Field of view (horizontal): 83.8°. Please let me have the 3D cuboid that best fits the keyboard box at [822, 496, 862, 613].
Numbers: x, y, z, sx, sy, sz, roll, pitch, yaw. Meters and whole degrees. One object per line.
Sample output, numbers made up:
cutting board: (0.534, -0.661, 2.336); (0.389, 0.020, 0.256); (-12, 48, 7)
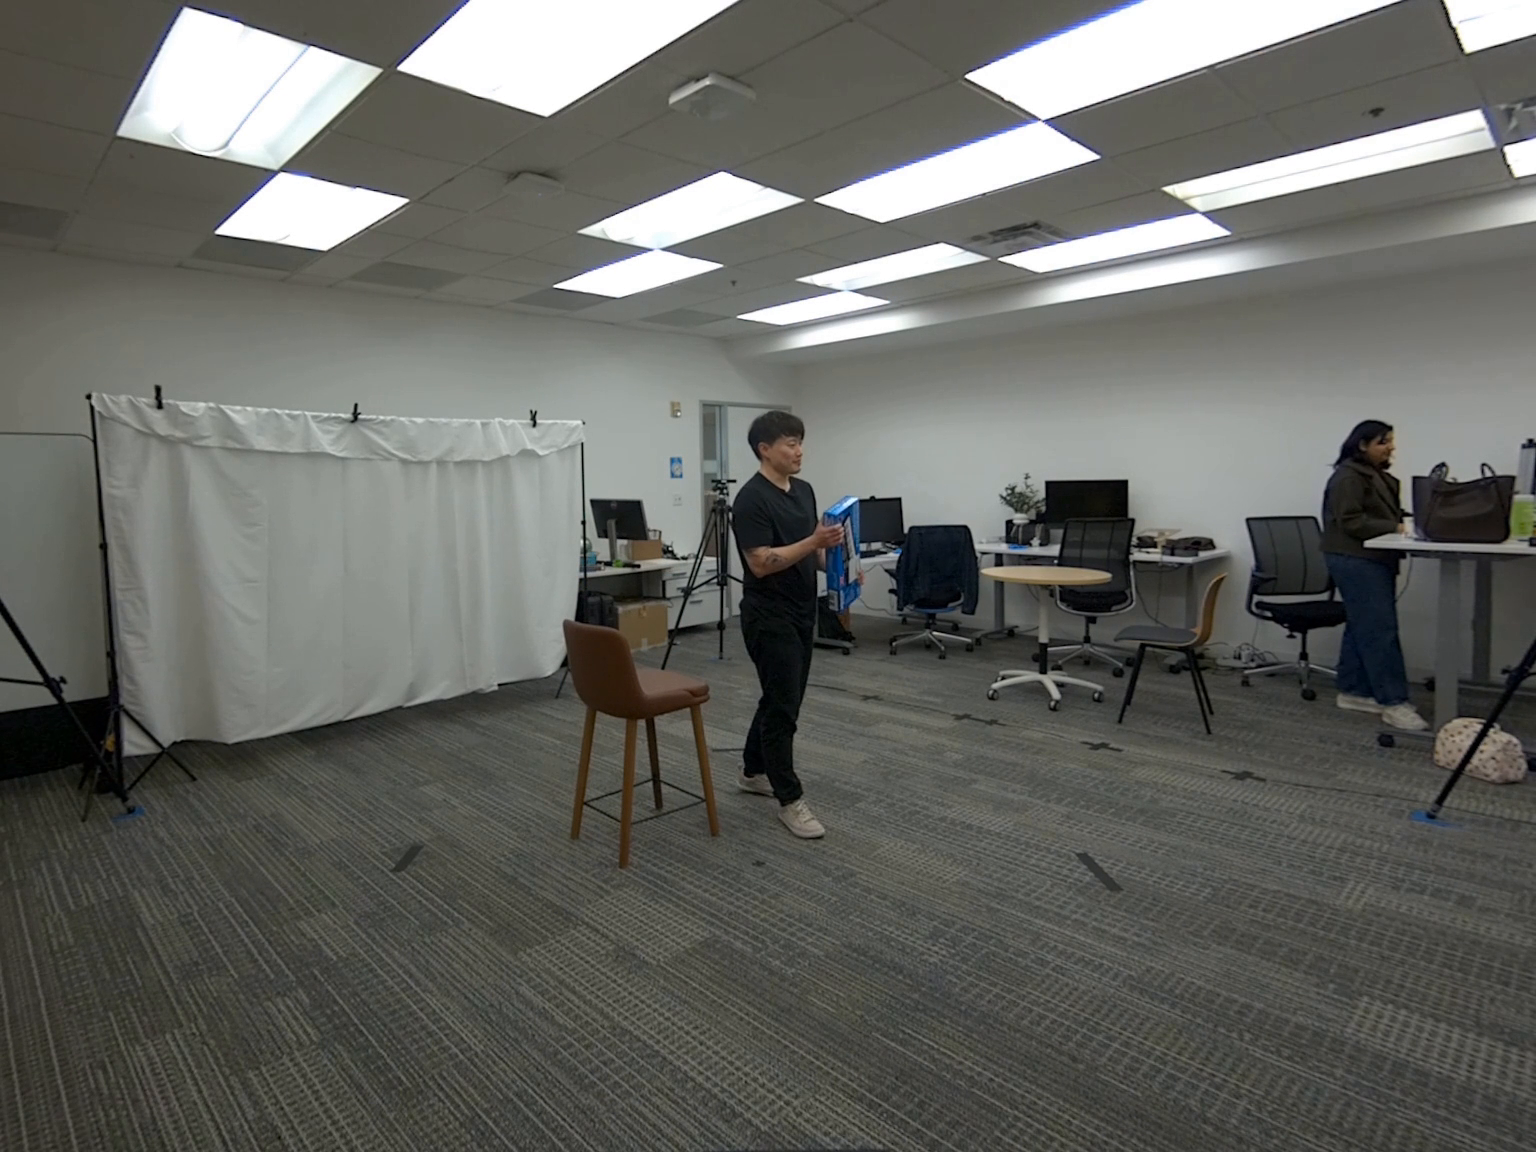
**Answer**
keyboard box: (0.290, -0.082, 3.370); (0.061, 0.426, 0.174); (14, 32, 33)
